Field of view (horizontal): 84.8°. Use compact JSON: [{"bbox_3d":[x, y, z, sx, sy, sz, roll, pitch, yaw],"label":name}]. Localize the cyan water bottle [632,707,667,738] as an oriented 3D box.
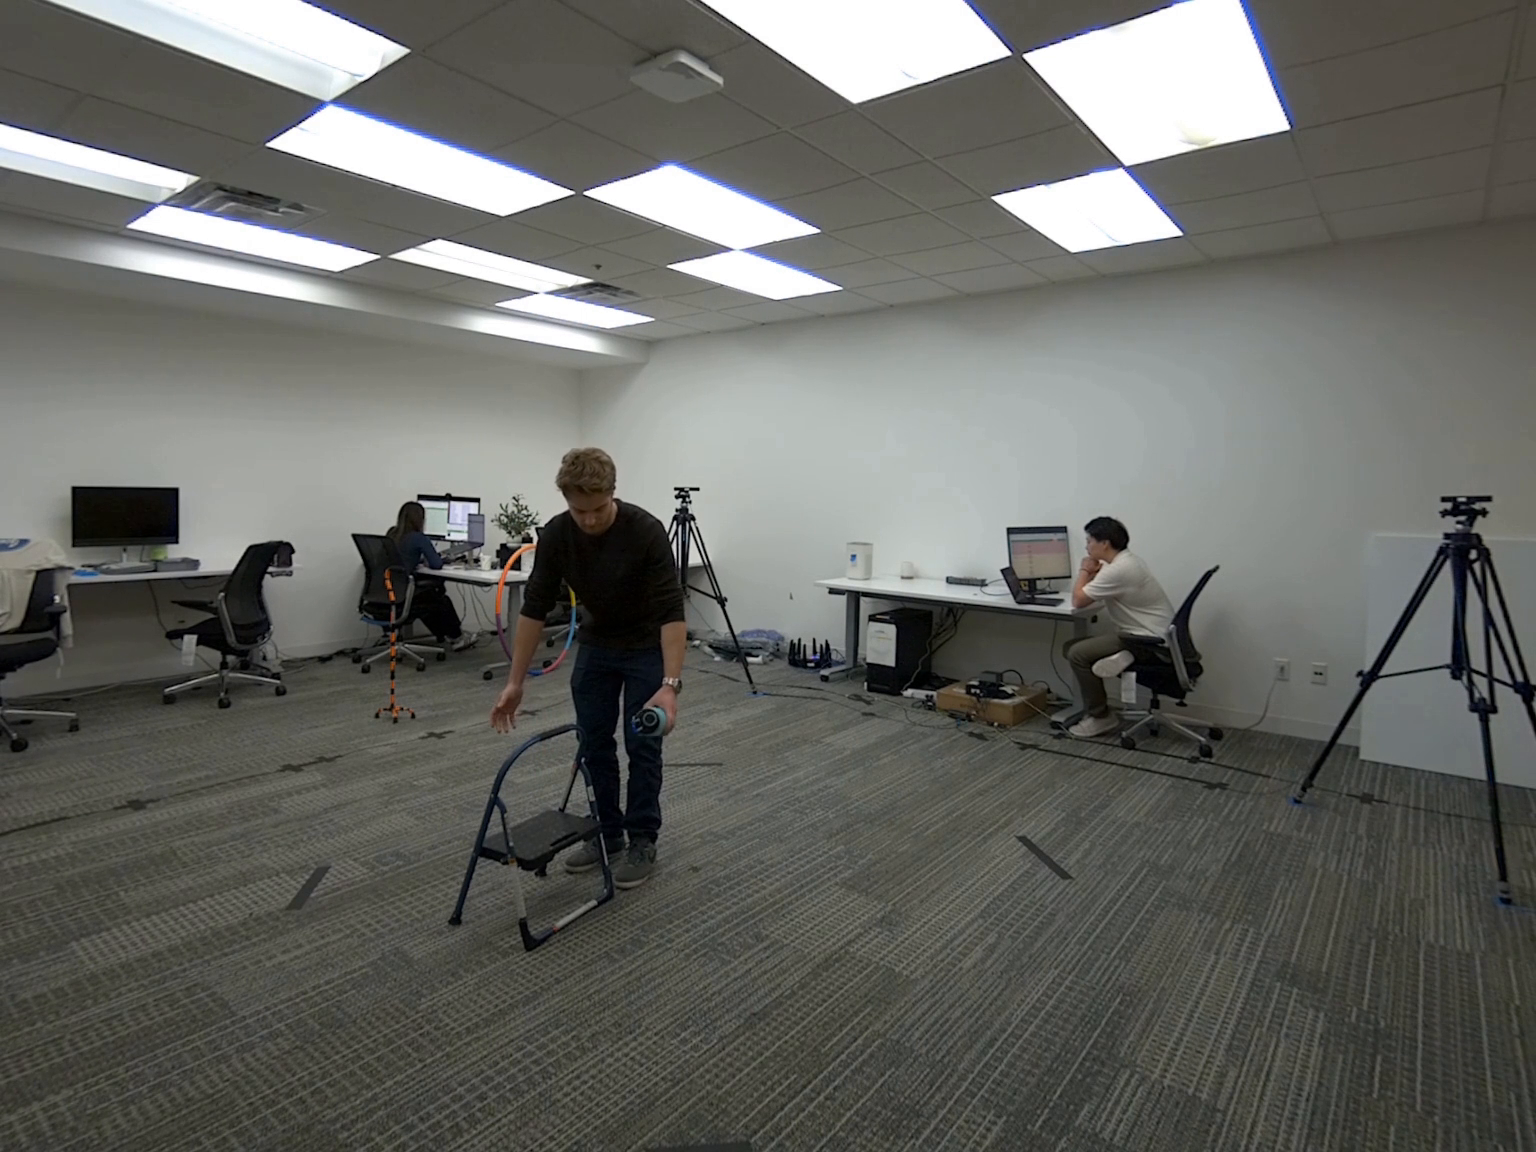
[{"bbox_3d":[-0.386,0.464,2.713,0.093,0.093,0.279,1,-9,3],"label":"cyan water bottle"}]
